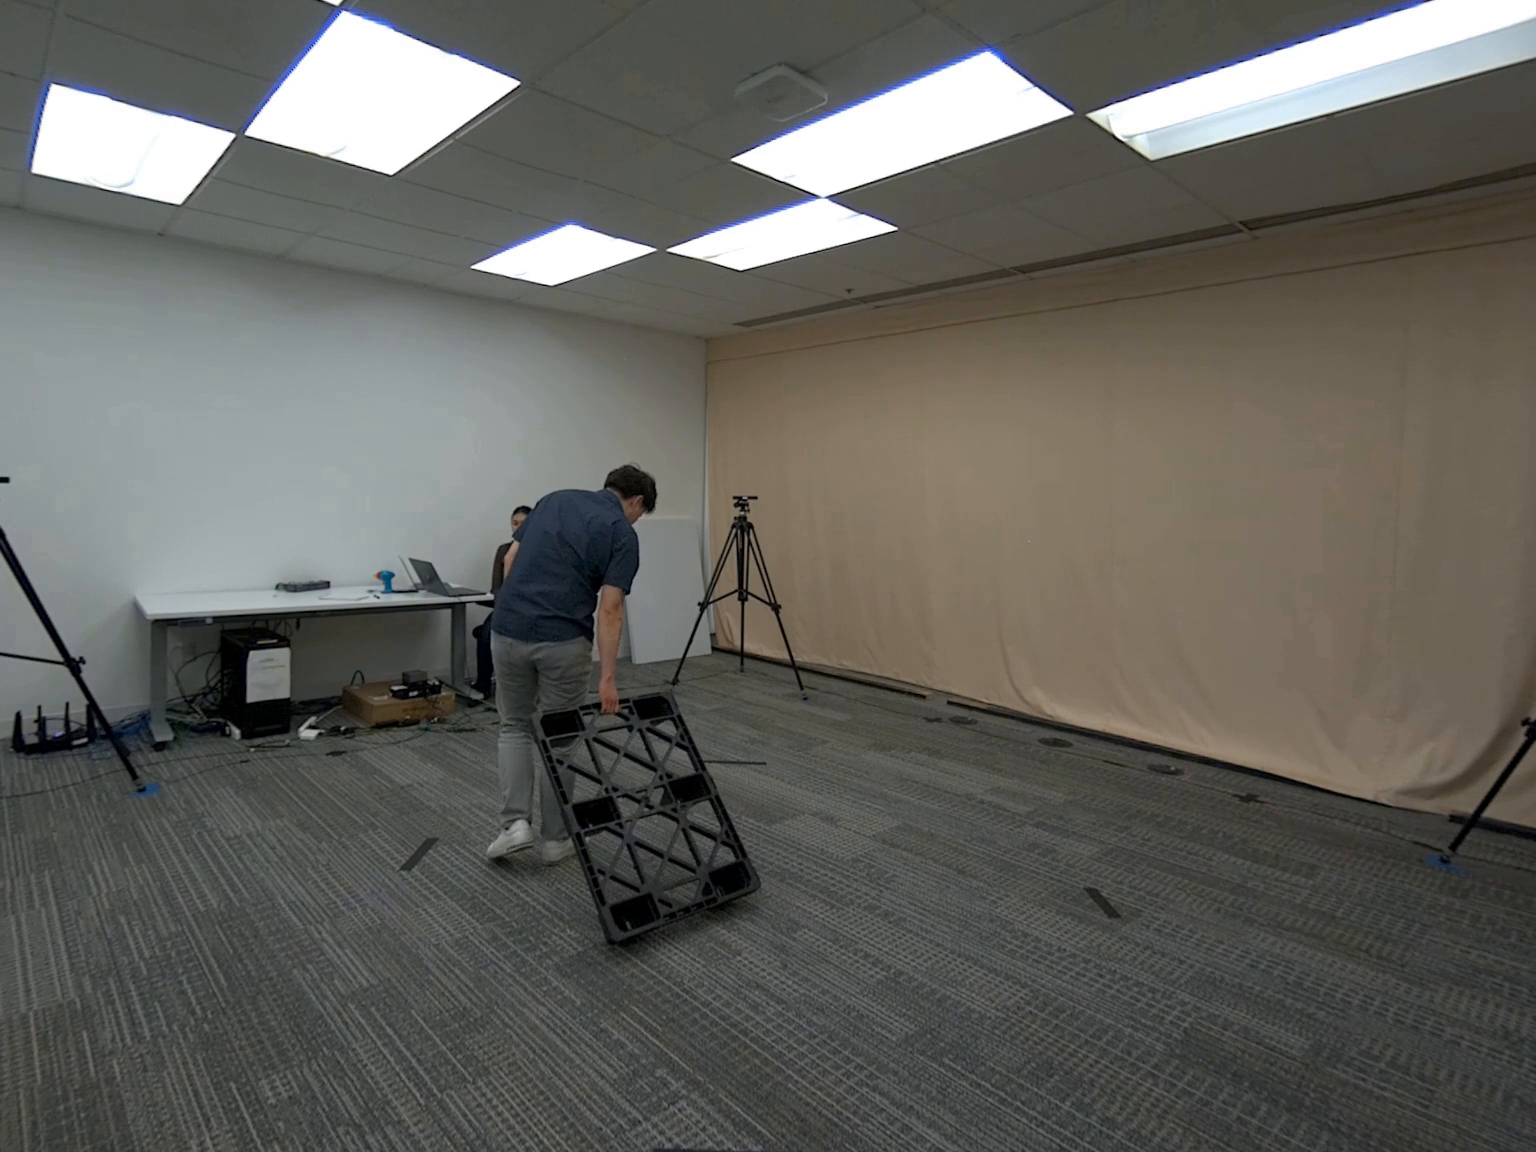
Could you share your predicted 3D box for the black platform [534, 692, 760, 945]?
[{"bbox_3d":[-0.460,0.809,2.909,0.591,0.827,0.143,-3,-39,-40],"label":"black platform"}]
